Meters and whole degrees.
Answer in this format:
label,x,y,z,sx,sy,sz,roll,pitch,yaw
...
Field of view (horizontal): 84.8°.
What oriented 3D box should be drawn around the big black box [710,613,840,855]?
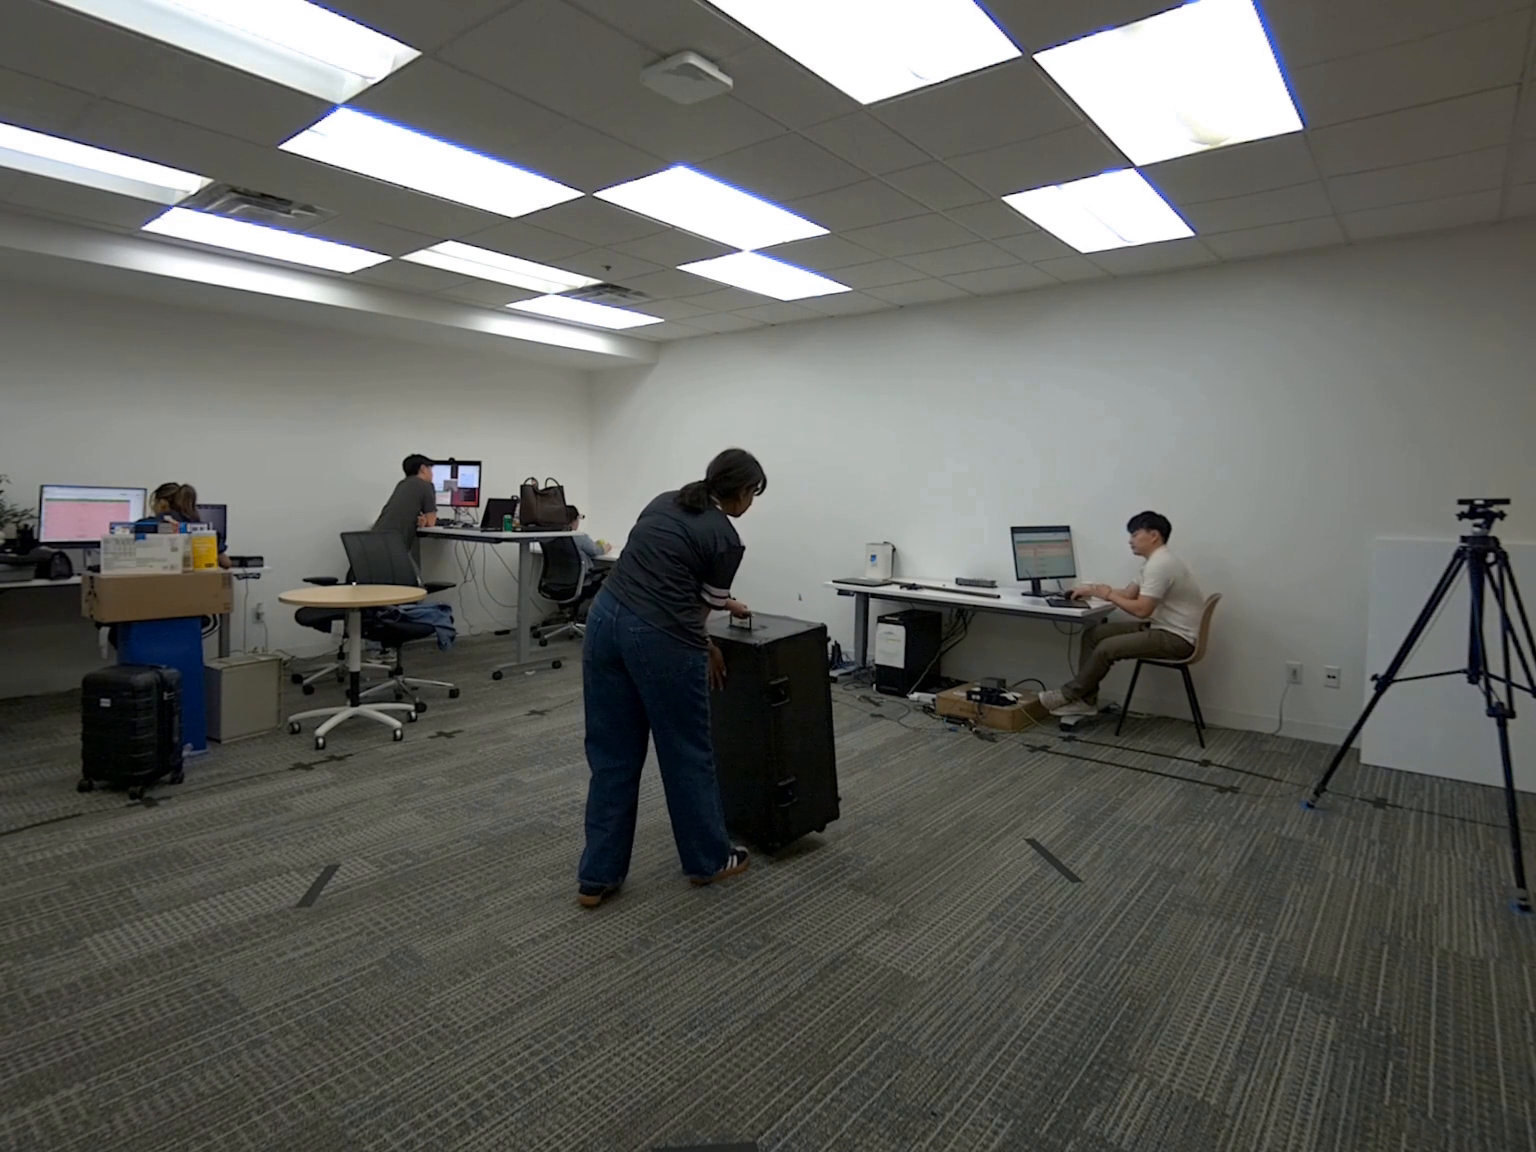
label,x,y,z,sx,sy,sz,roll,pitch,yaw
big black box,-0.043,0.614,3.385,0.376,0.861,0.541,-12,11,-40
